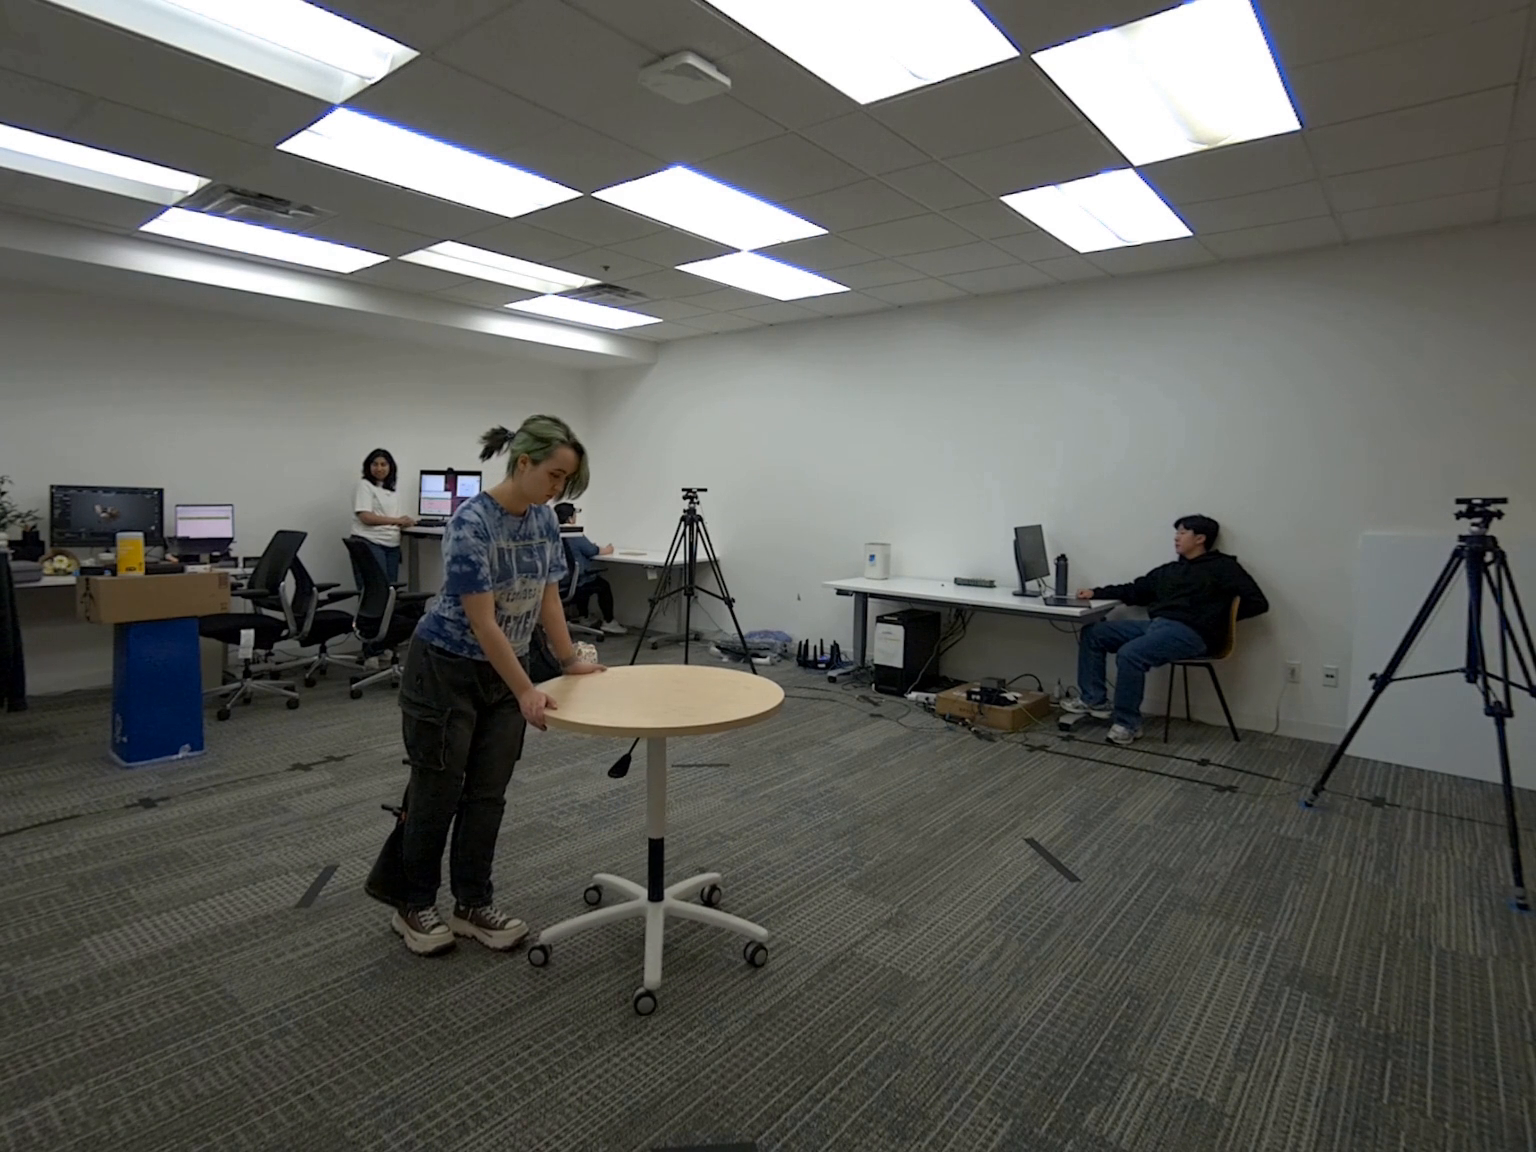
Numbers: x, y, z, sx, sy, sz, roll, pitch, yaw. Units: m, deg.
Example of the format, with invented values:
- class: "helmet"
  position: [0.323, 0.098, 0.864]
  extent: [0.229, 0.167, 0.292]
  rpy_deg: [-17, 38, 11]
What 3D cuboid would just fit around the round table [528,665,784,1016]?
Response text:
- class: "round table"
  position: [-0.346, 0.739, 2.565]
  extent: [0.763, 0.791, 0.768]
  rpy_deg: [0, 4, -2]
